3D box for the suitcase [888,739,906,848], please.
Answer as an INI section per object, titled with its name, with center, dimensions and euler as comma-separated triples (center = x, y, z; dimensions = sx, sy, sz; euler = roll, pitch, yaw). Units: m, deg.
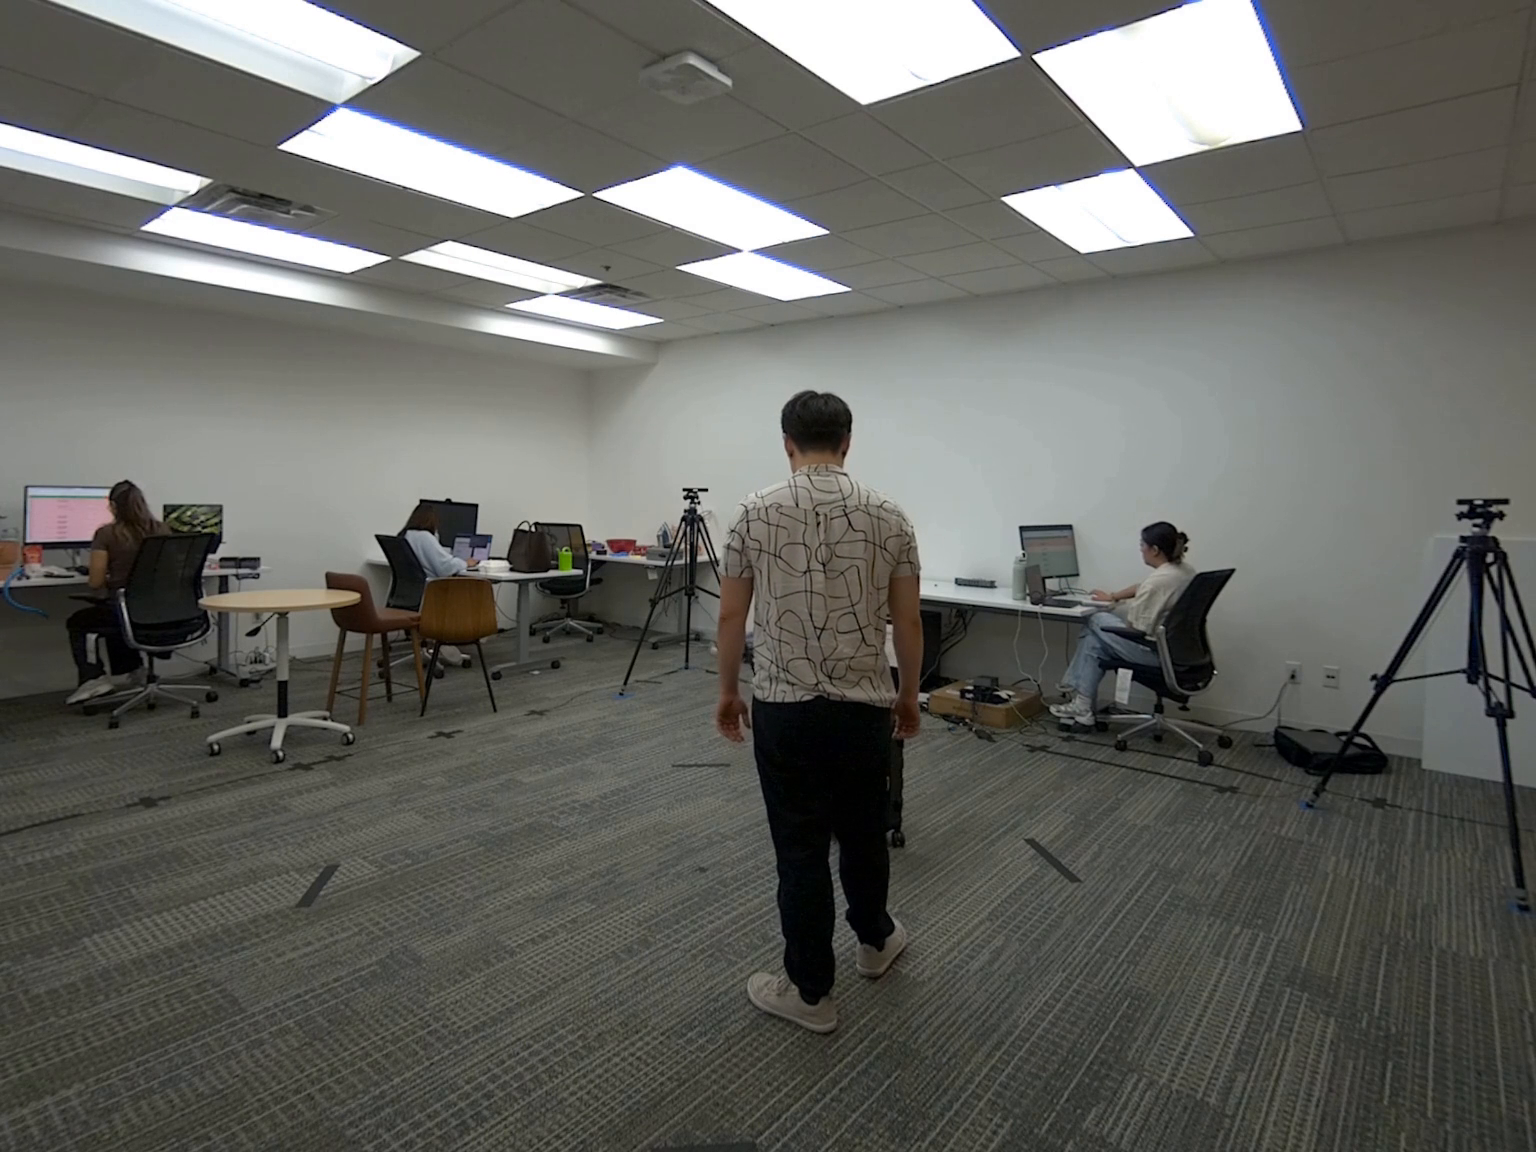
[suitcase]
center = 0.341, 0.770, 3.432
dimensions = 0.241, 0.548, 0.387
euler = 0, 4, -34
